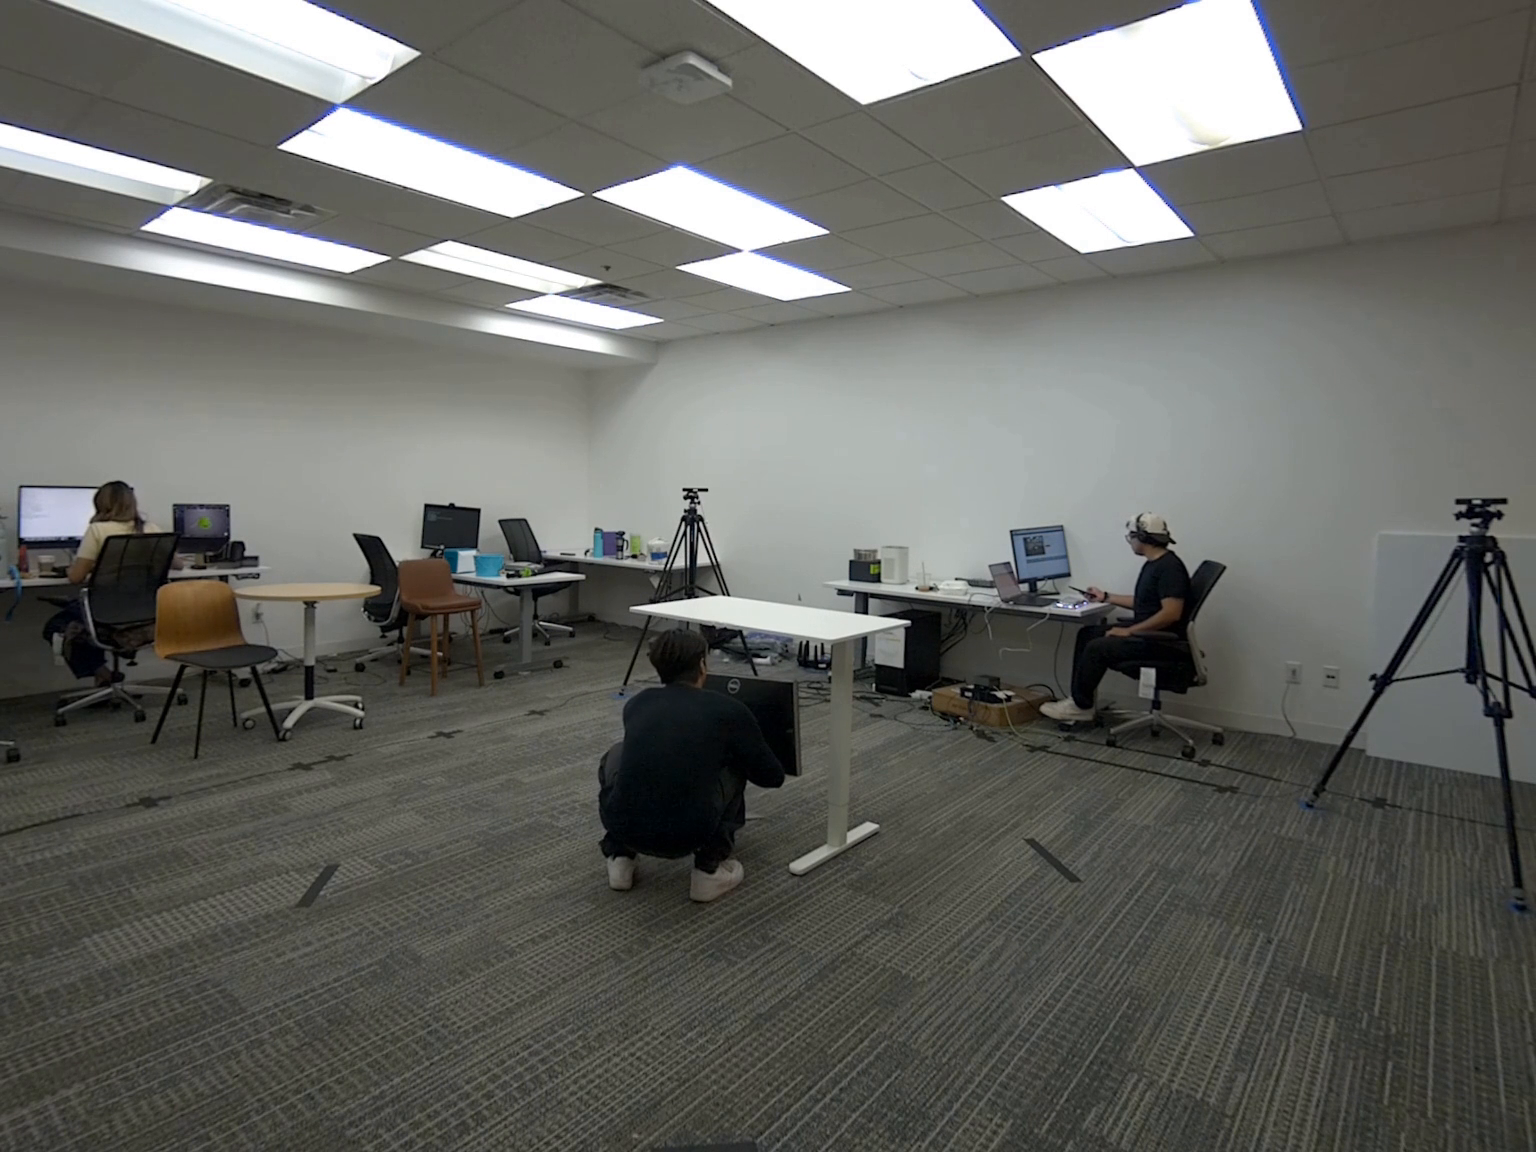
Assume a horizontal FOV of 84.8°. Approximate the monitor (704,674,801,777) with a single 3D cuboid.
[{"bbox_3d":[-0.151,0.651,3.357,0.546,0.521,0.167,-1,-16,39],"label":"monitor"}]
